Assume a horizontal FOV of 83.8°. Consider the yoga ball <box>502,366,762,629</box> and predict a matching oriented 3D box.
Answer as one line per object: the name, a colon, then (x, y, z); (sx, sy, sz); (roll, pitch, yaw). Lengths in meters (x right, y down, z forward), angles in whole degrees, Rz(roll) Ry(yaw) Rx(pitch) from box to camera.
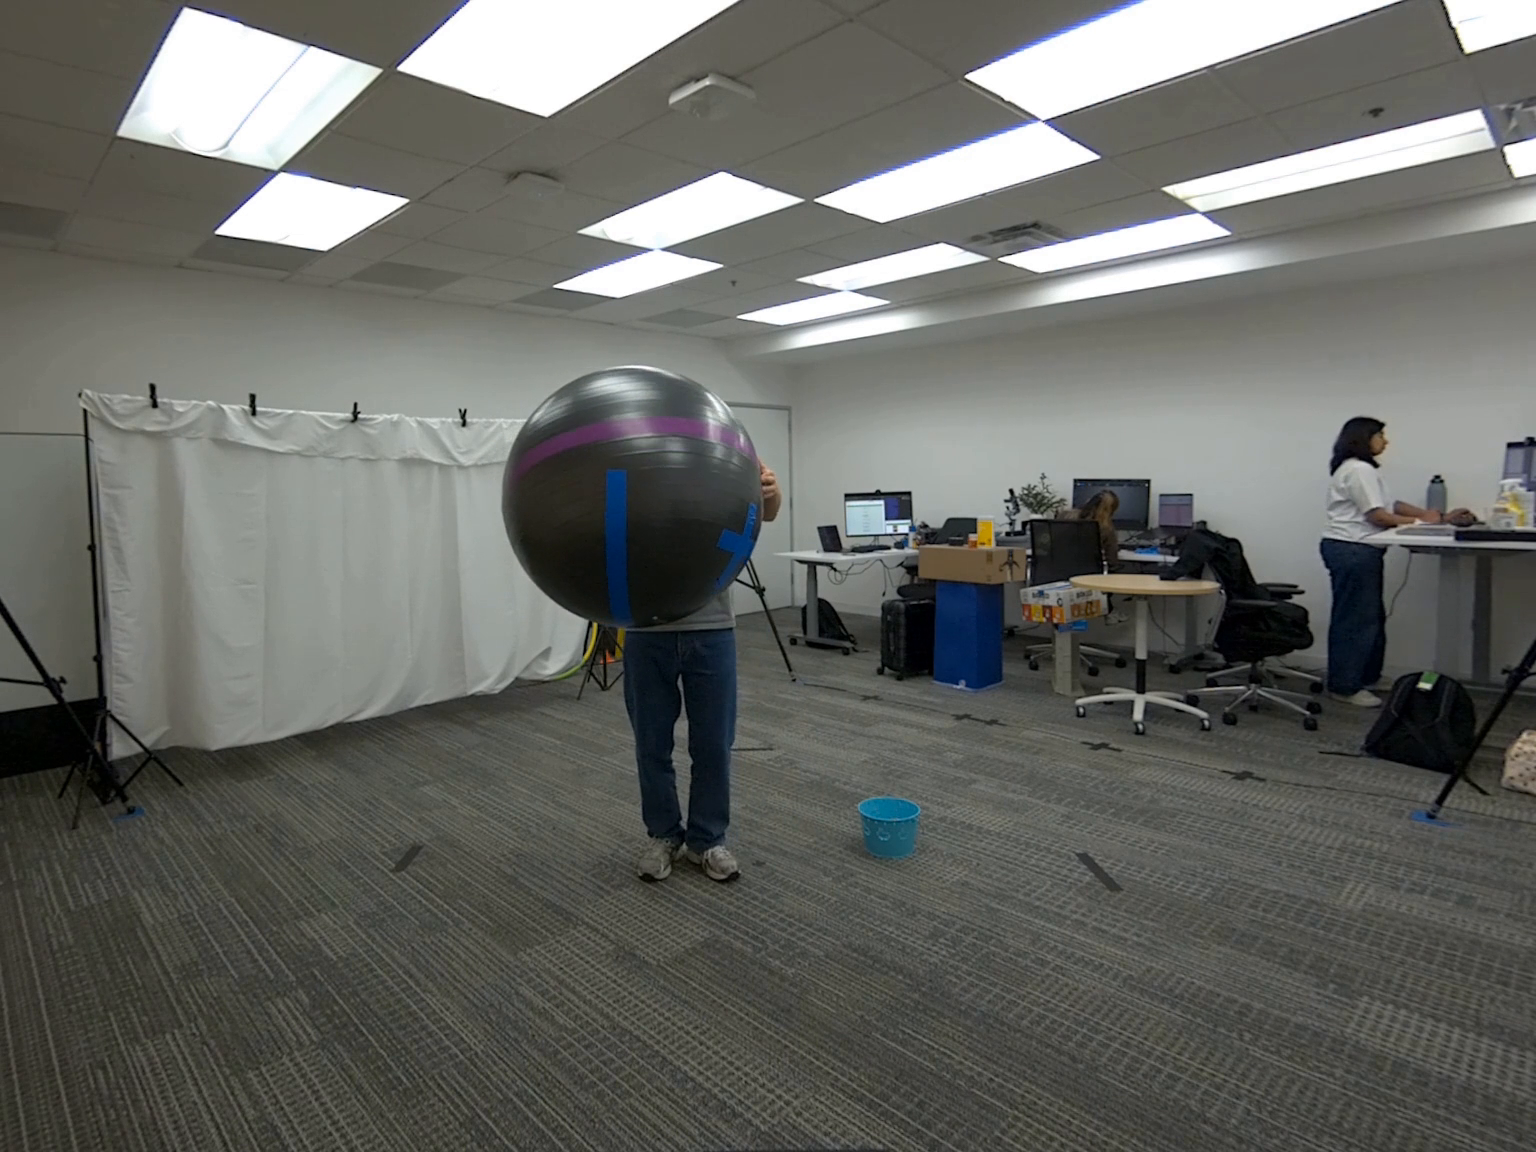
yoga ball: (-0.393, -0.218, 2.497); (0.757, 0.755, 0.762); (-1, 5, -2)
